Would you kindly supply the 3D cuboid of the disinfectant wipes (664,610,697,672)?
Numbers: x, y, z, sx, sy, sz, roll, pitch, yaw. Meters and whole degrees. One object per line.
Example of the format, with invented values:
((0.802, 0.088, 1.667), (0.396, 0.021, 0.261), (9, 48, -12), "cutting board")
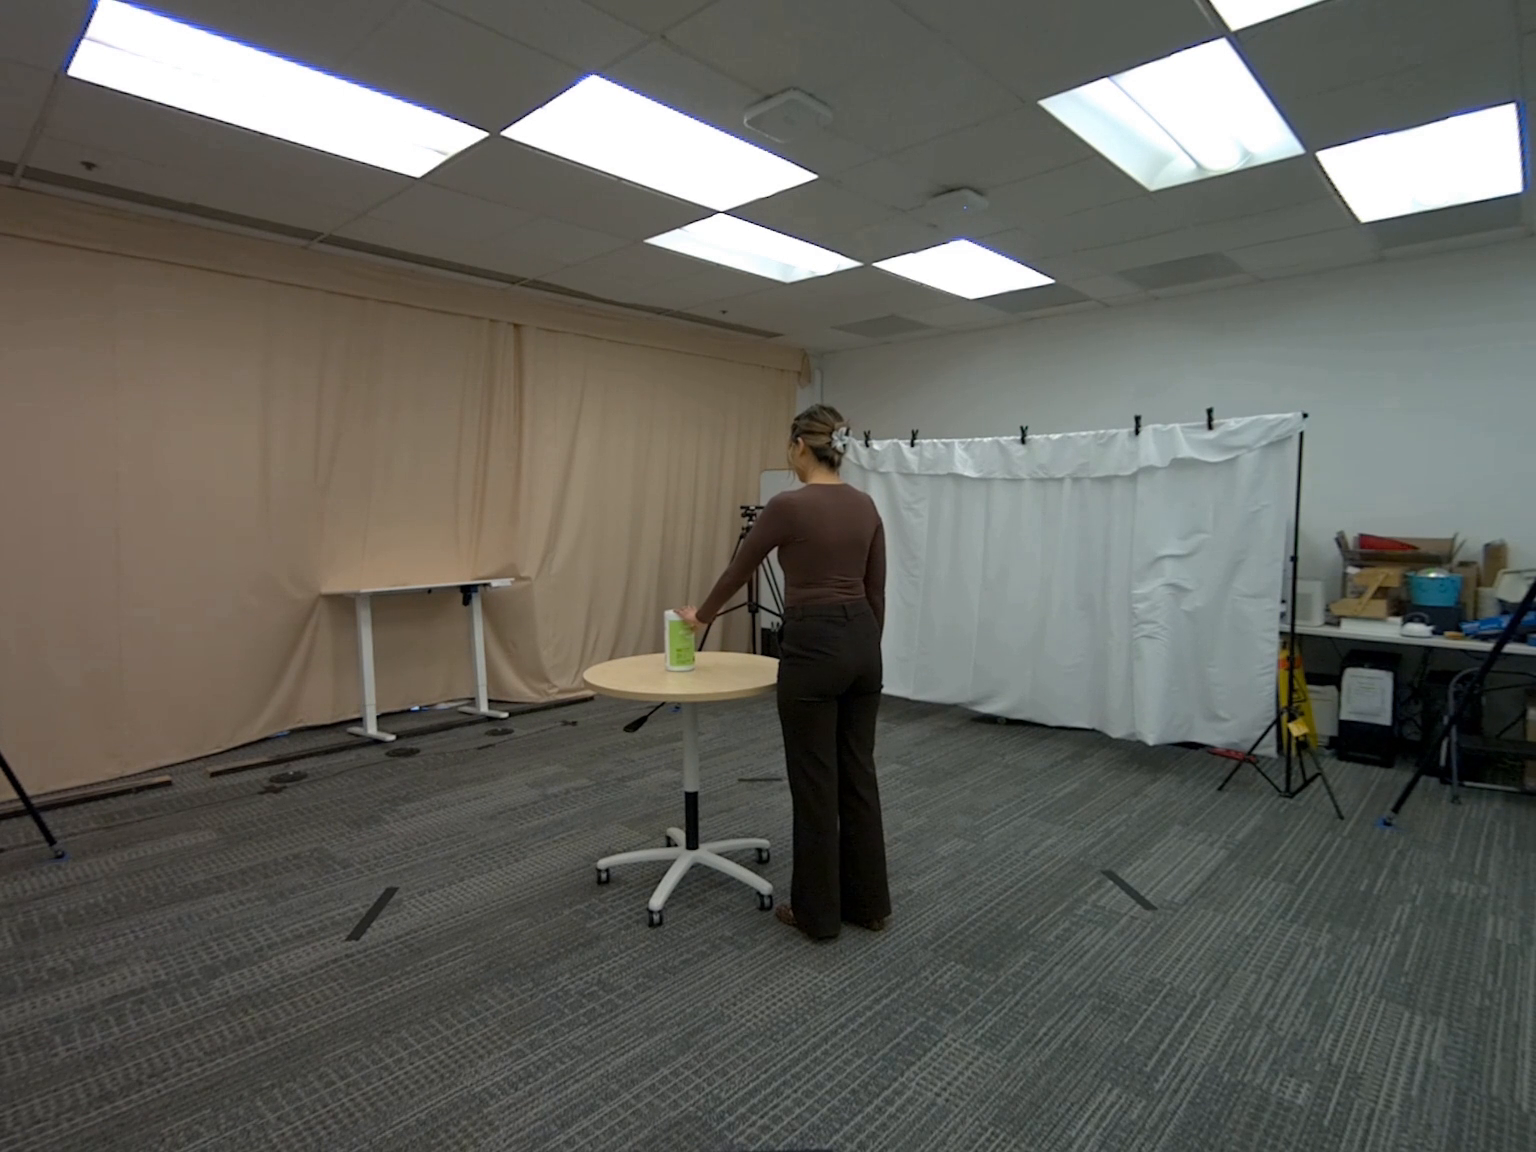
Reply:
((-0.324, 0.235, 3.076), (0.118, 0.217, 0.118), (1, 3, -2), "disinfectant wipes")
